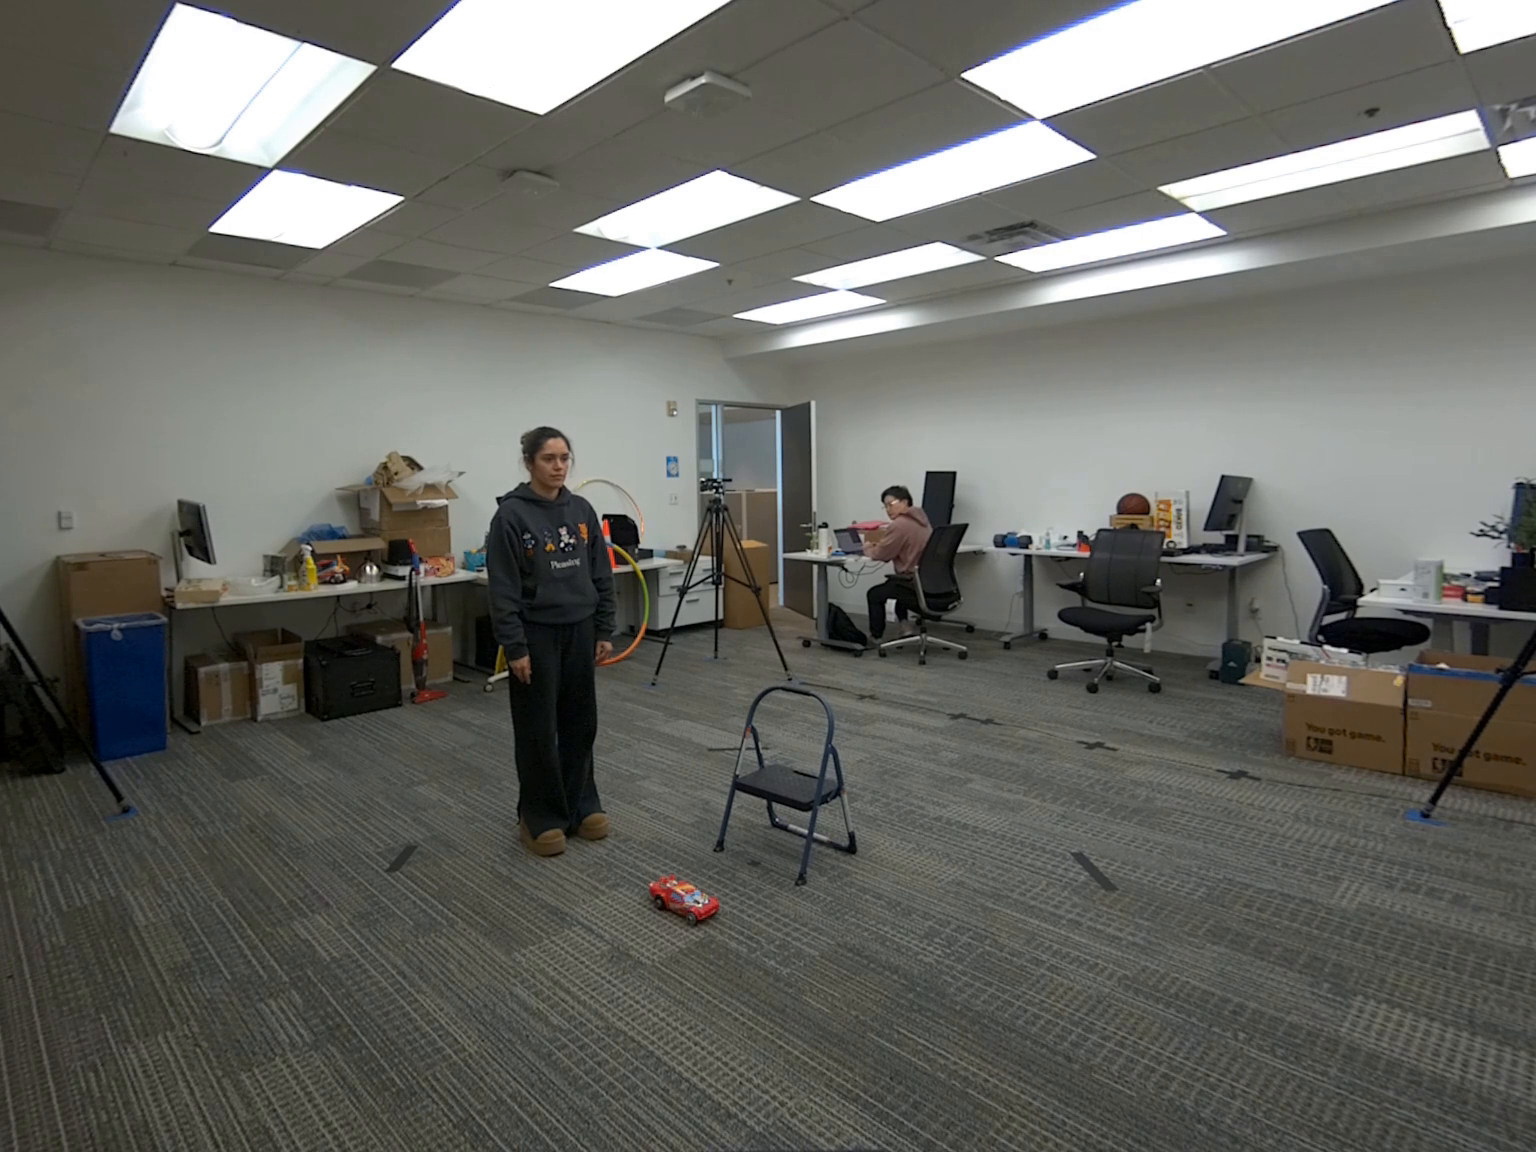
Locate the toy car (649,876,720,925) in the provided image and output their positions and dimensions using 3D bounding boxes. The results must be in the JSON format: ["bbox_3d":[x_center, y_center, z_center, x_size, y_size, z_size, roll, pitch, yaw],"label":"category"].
[{"bbox_3d":[-0.280,1.056,2.774,0.264,0.082,0.127,18,17,40],"label":"toy car"}]
